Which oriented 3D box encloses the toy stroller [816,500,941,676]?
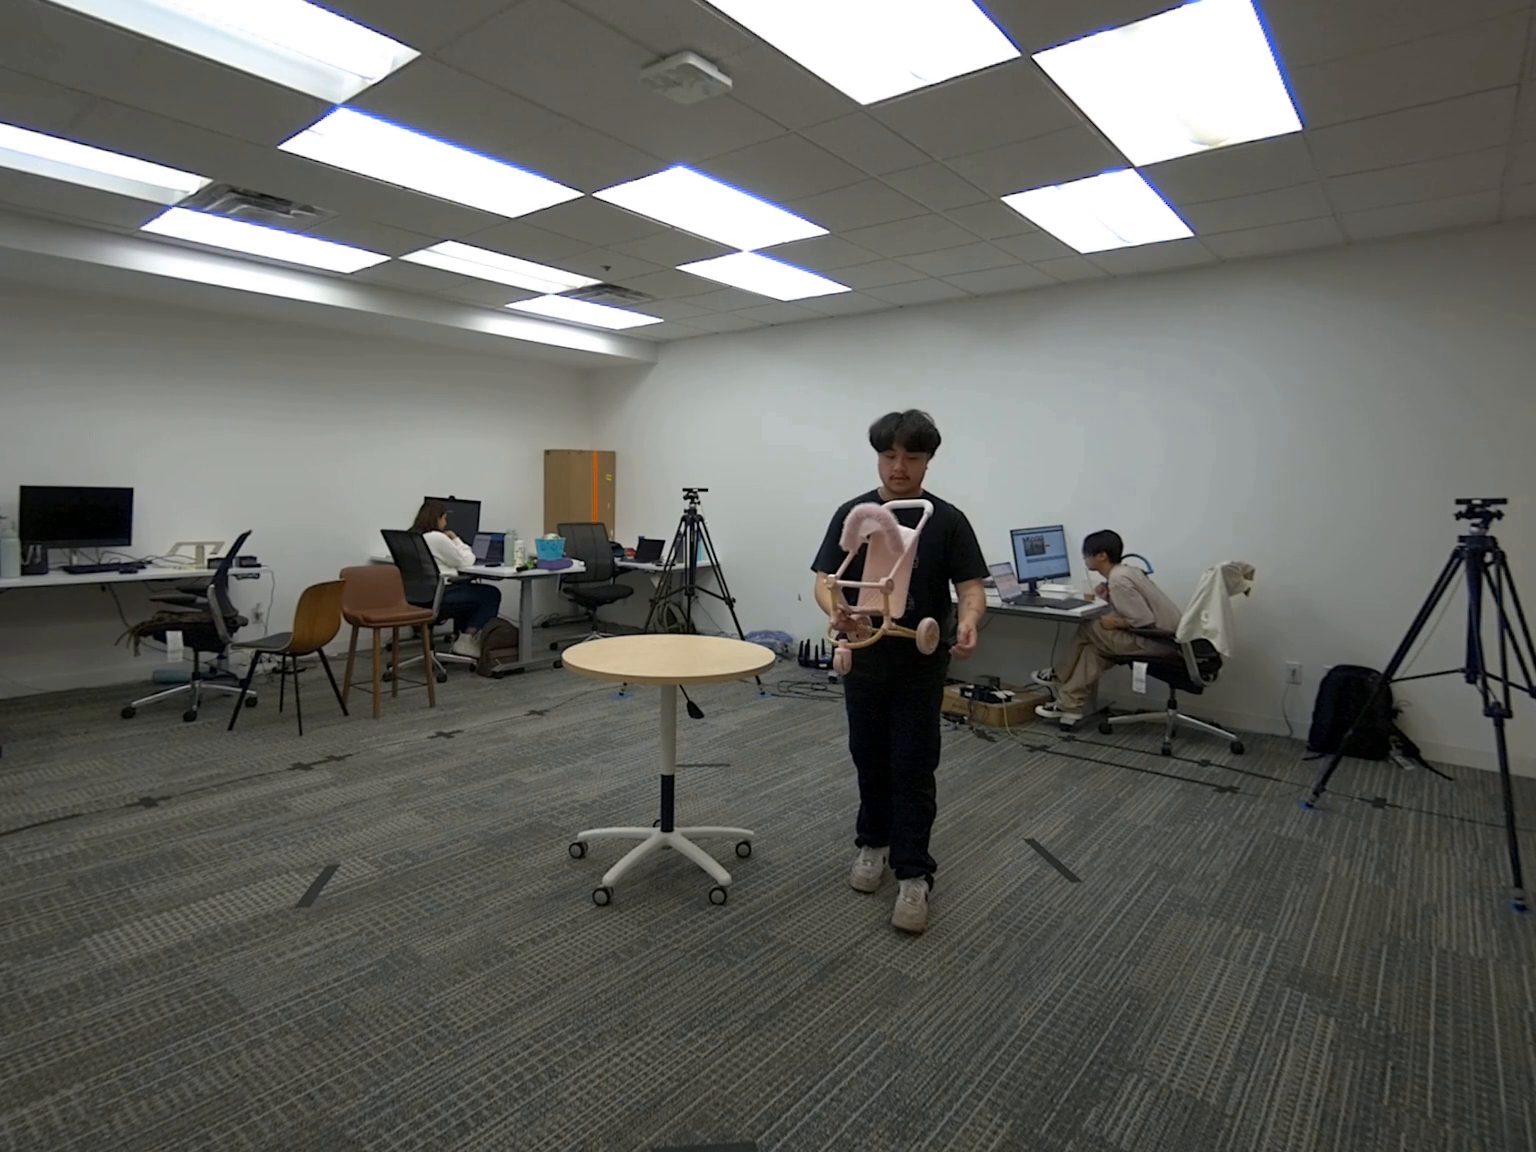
[{"bbox_3d":[0.314,0.018,2.557,0.330,0.536,0.290,5,-3,-42],"label":"toy stroller"}]
